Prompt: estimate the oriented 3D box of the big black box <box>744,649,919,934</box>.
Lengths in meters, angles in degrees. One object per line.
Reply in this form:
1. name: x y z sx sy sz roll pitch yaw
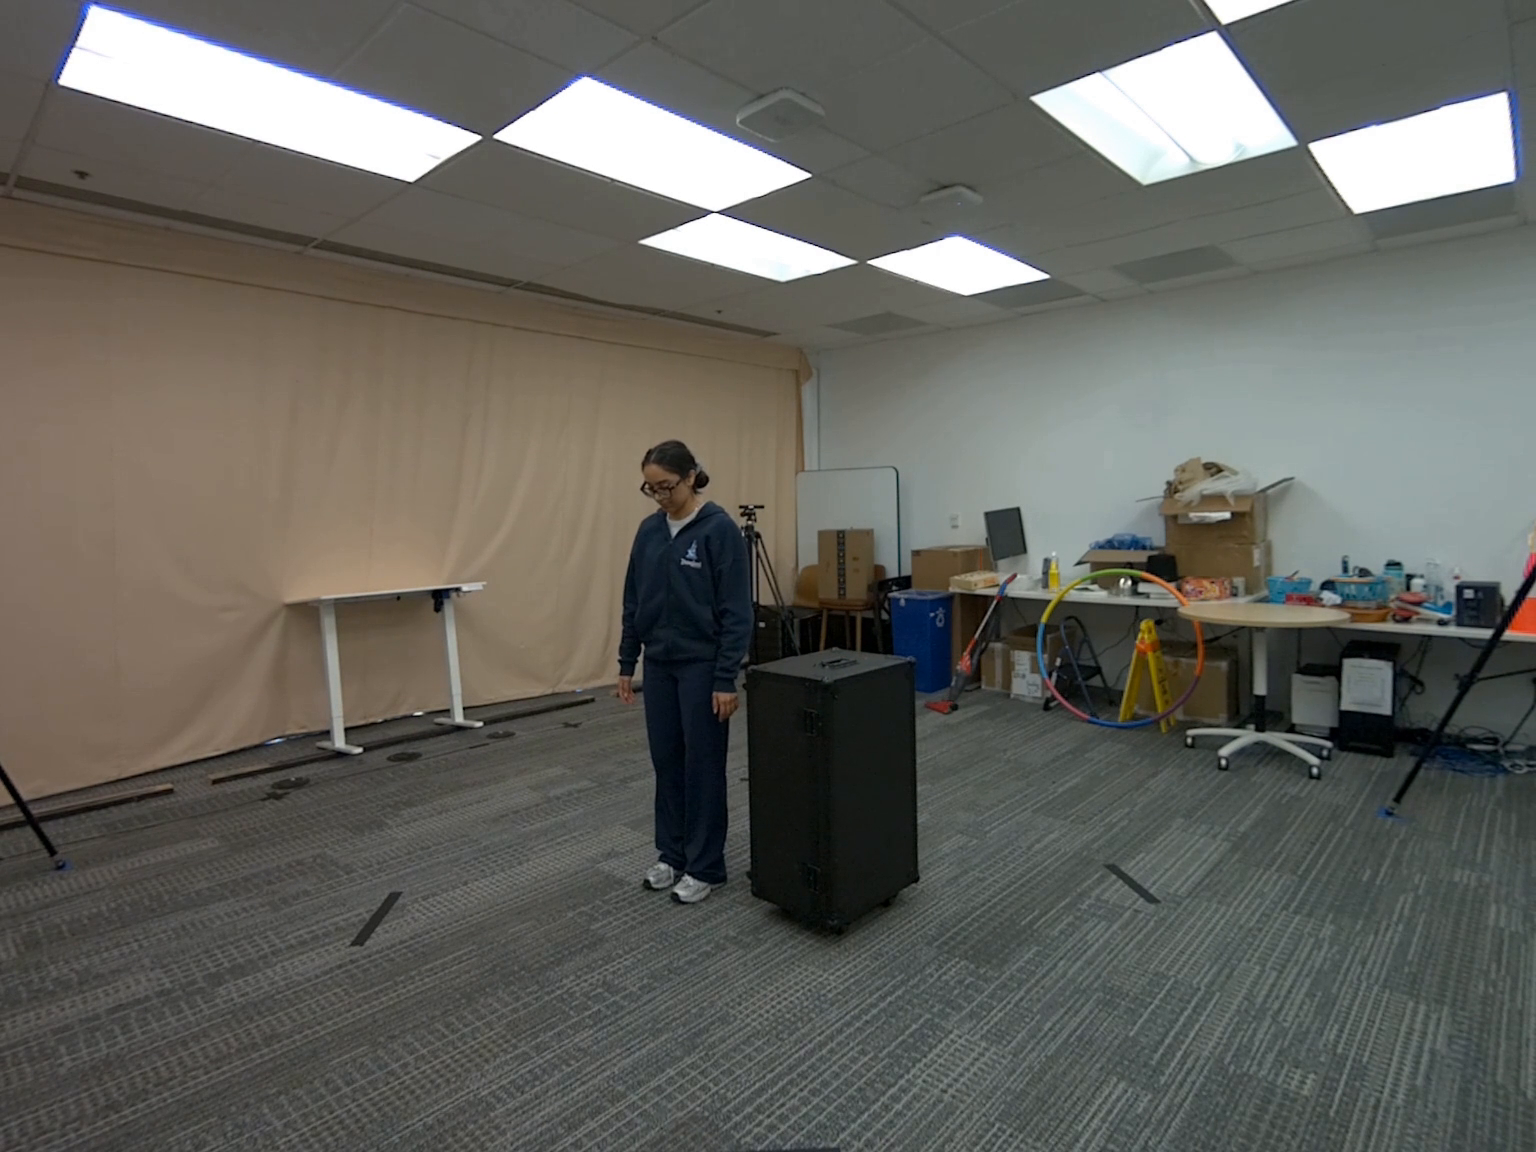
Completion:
1. big black box: 0.221 0.724 2.884 0.409 0.860 0.505 0 3 44
